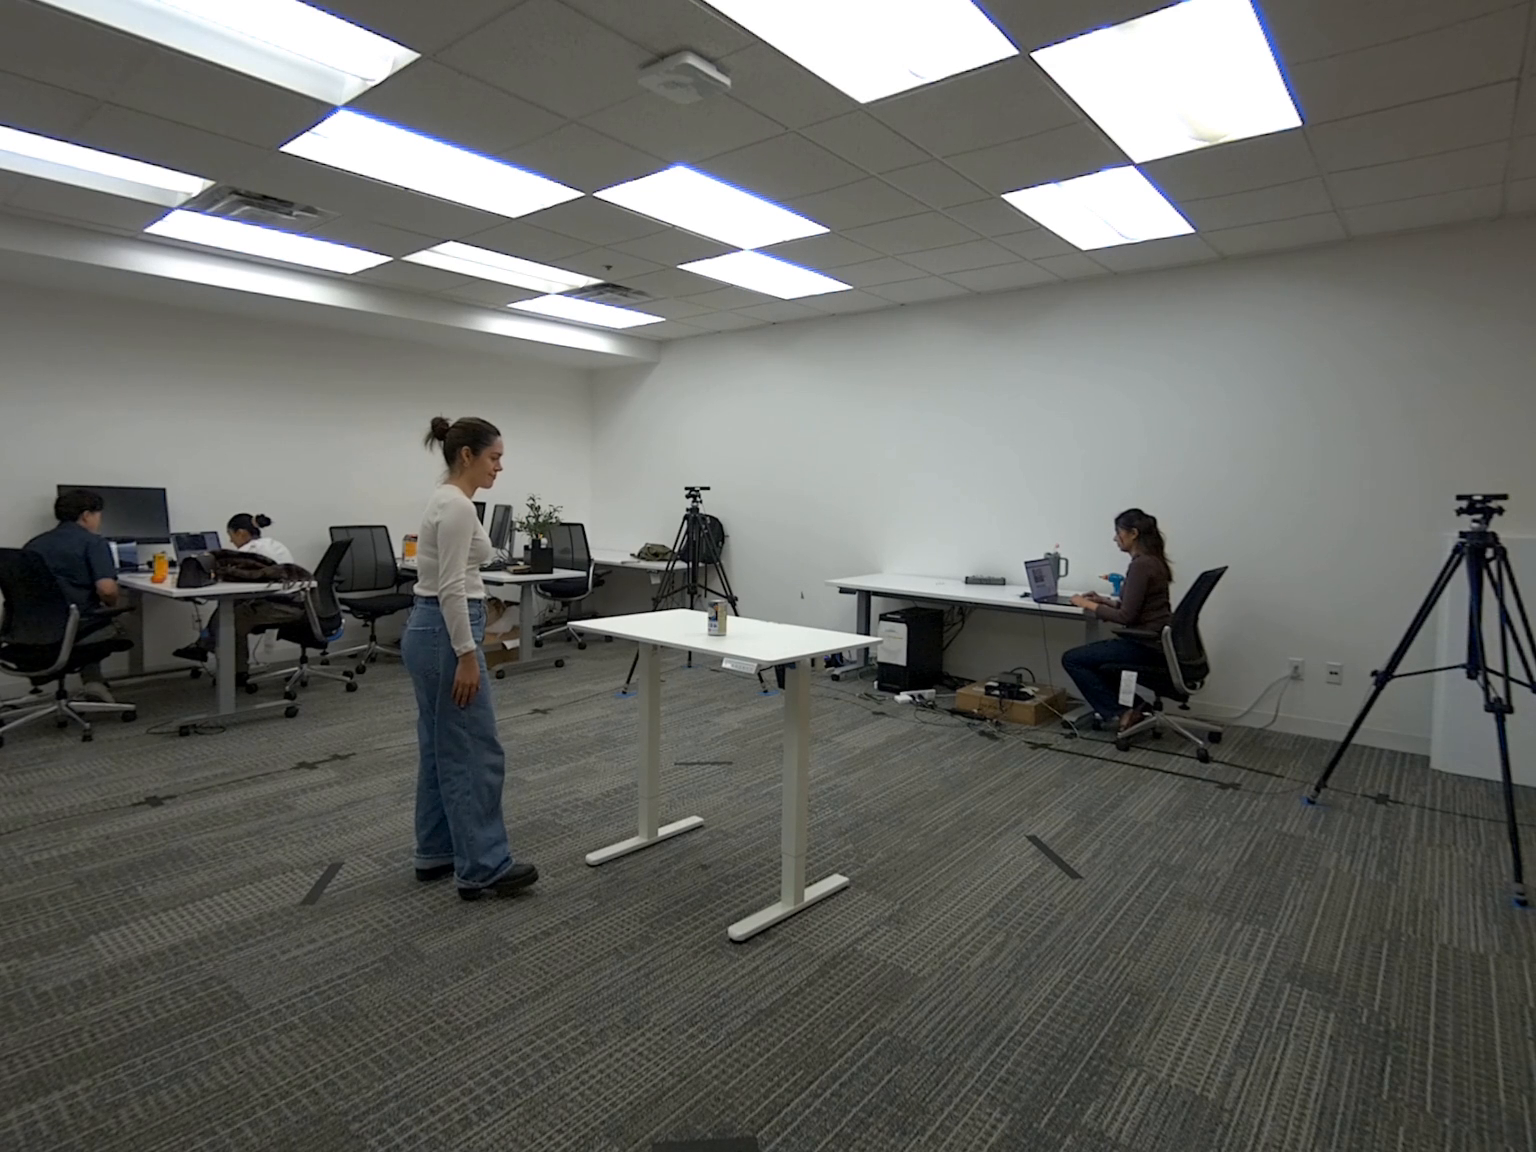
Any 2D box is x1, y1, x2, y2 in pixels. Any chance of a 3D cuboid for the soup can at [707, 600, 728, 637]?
[{"bbox_3d":[-0.189,0.146,2.917,0.067,0.121,0.067,0,4,-2],"label":"soup can"}]
